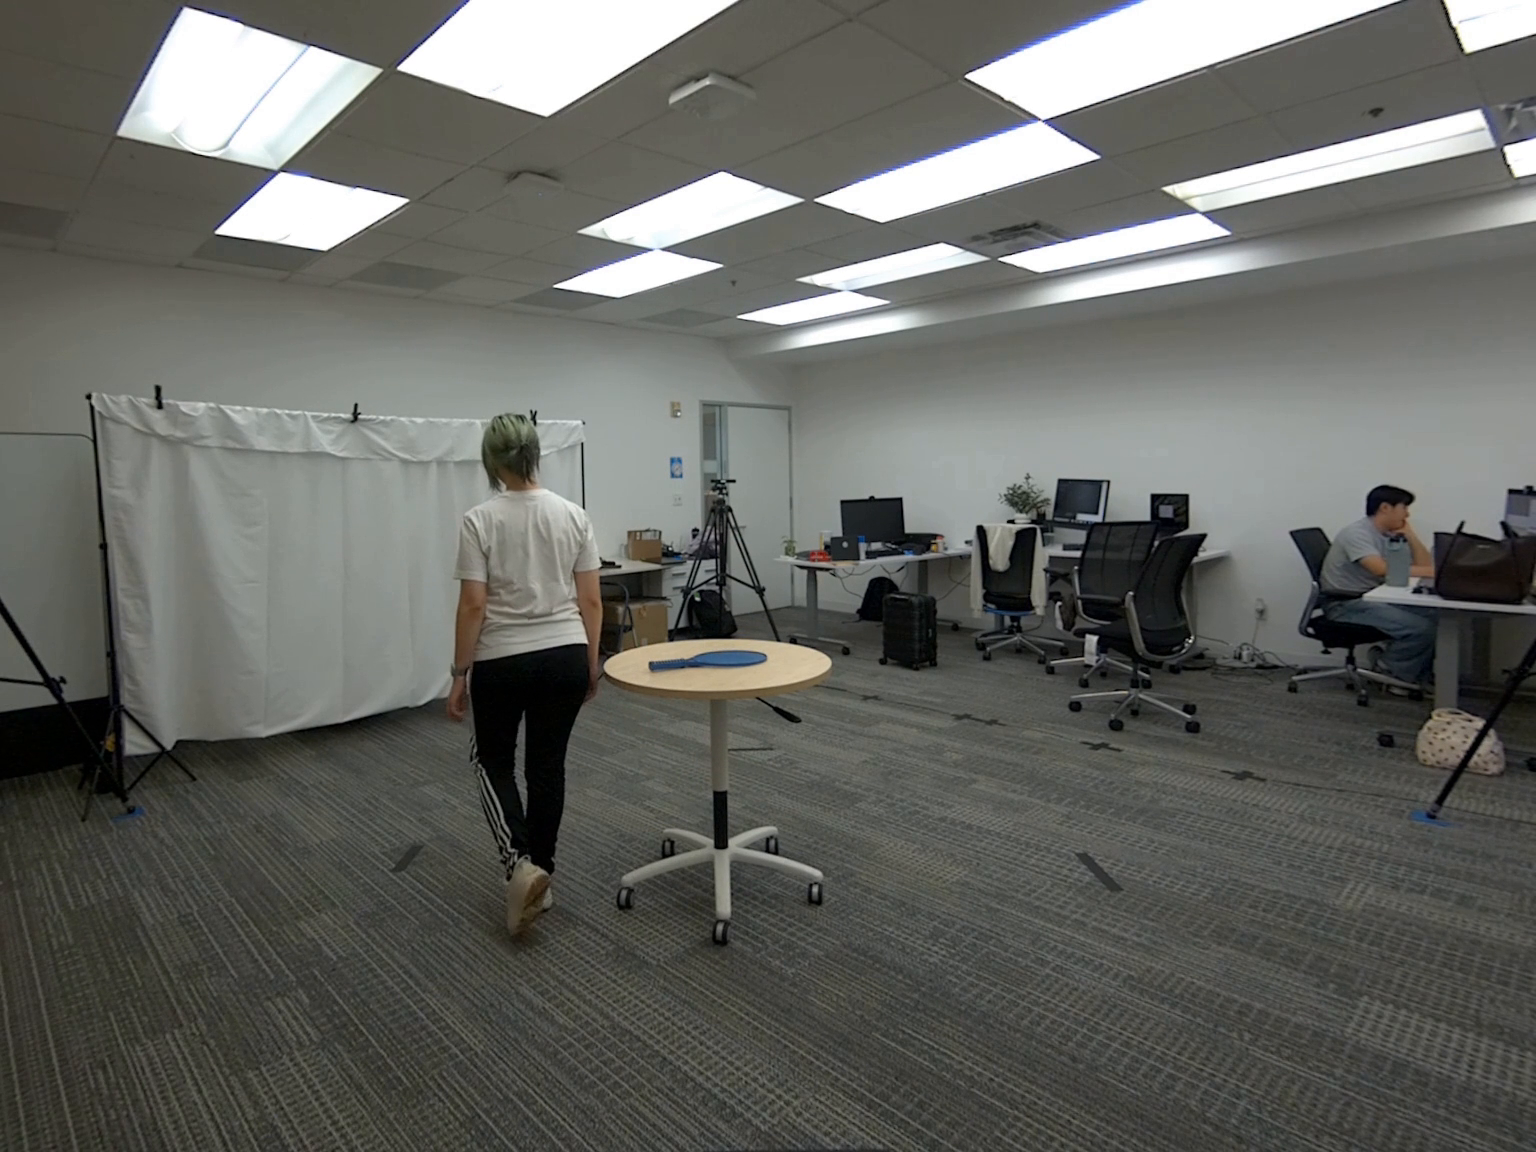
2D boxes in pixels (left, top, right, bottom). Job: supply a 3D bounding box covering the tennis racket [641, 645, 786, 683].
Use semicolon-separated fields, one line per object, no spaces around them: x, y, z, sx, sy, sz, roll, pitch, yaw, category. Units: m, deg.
-0.180;0.287;2.857;0.422;0.031;0.220;-5;8;-35;tennis racket
